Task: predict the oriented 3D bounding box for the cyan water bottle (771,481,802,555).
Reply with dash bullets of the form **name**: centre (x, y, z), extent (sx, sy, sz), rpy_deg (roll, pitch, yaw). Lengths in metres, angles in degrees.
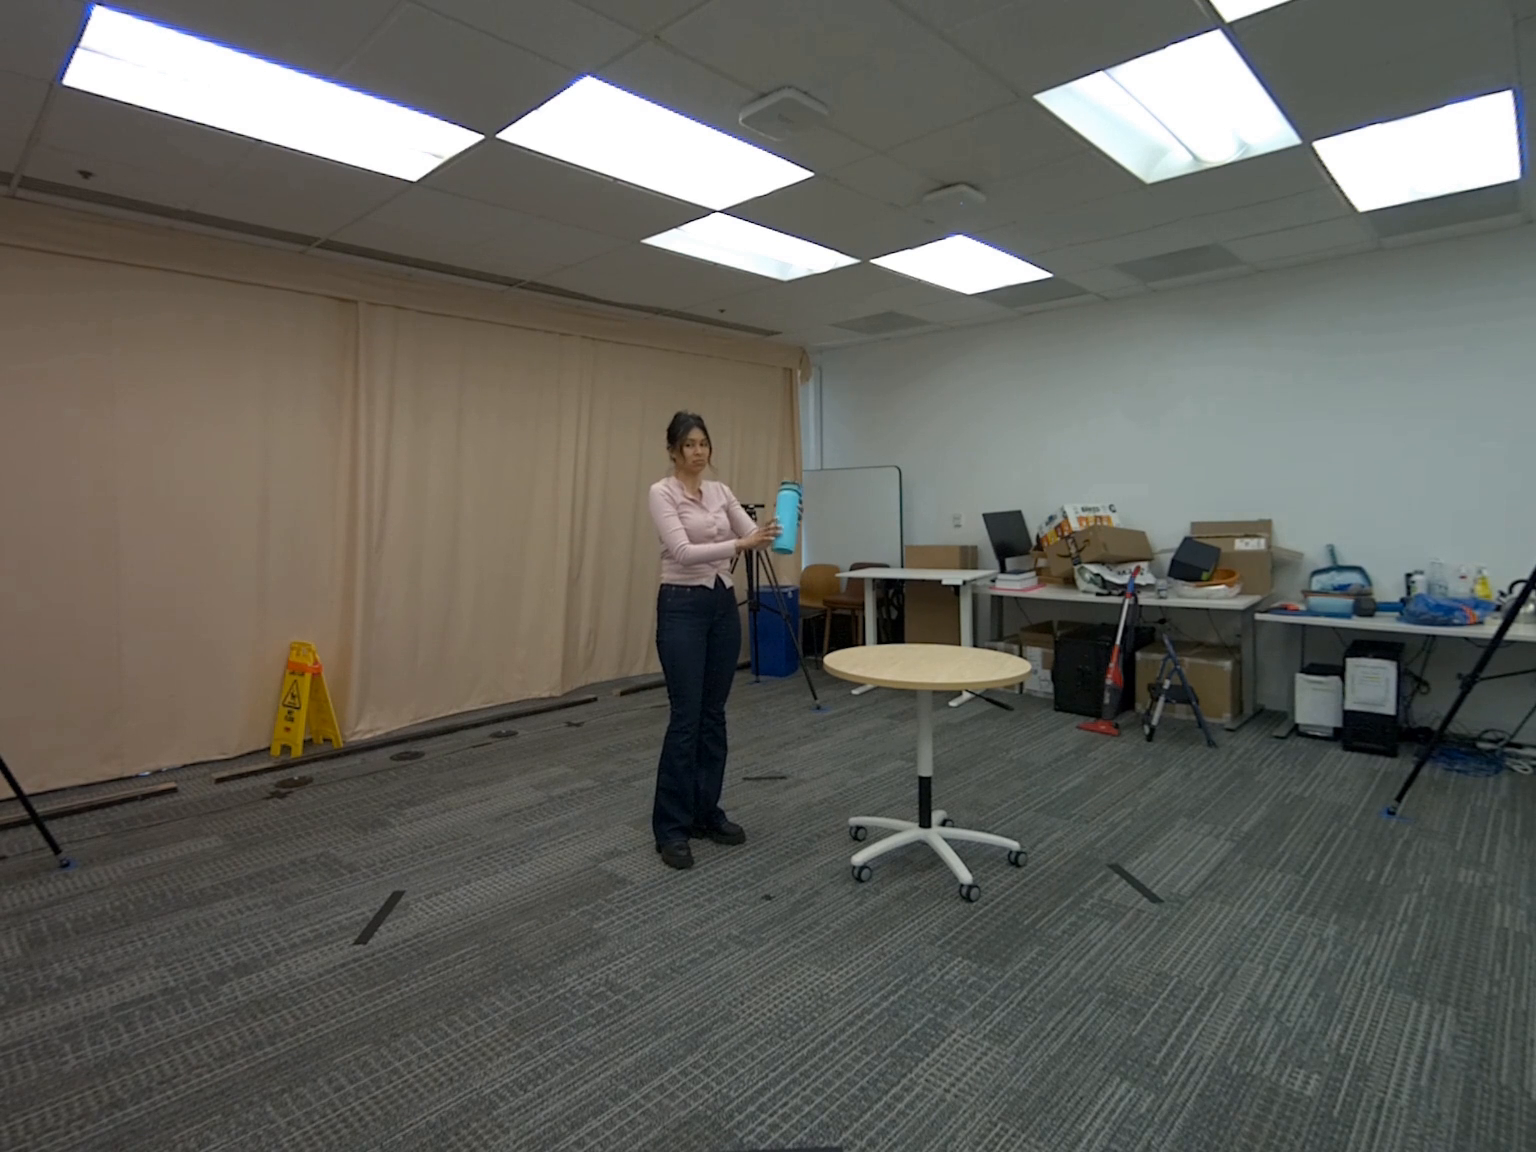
- **cyan water bottle**: centre (0.072, -0.222, 3.167), extent (0.092, 0.285, 0.091), rpy_deg (7, -16, 0)
